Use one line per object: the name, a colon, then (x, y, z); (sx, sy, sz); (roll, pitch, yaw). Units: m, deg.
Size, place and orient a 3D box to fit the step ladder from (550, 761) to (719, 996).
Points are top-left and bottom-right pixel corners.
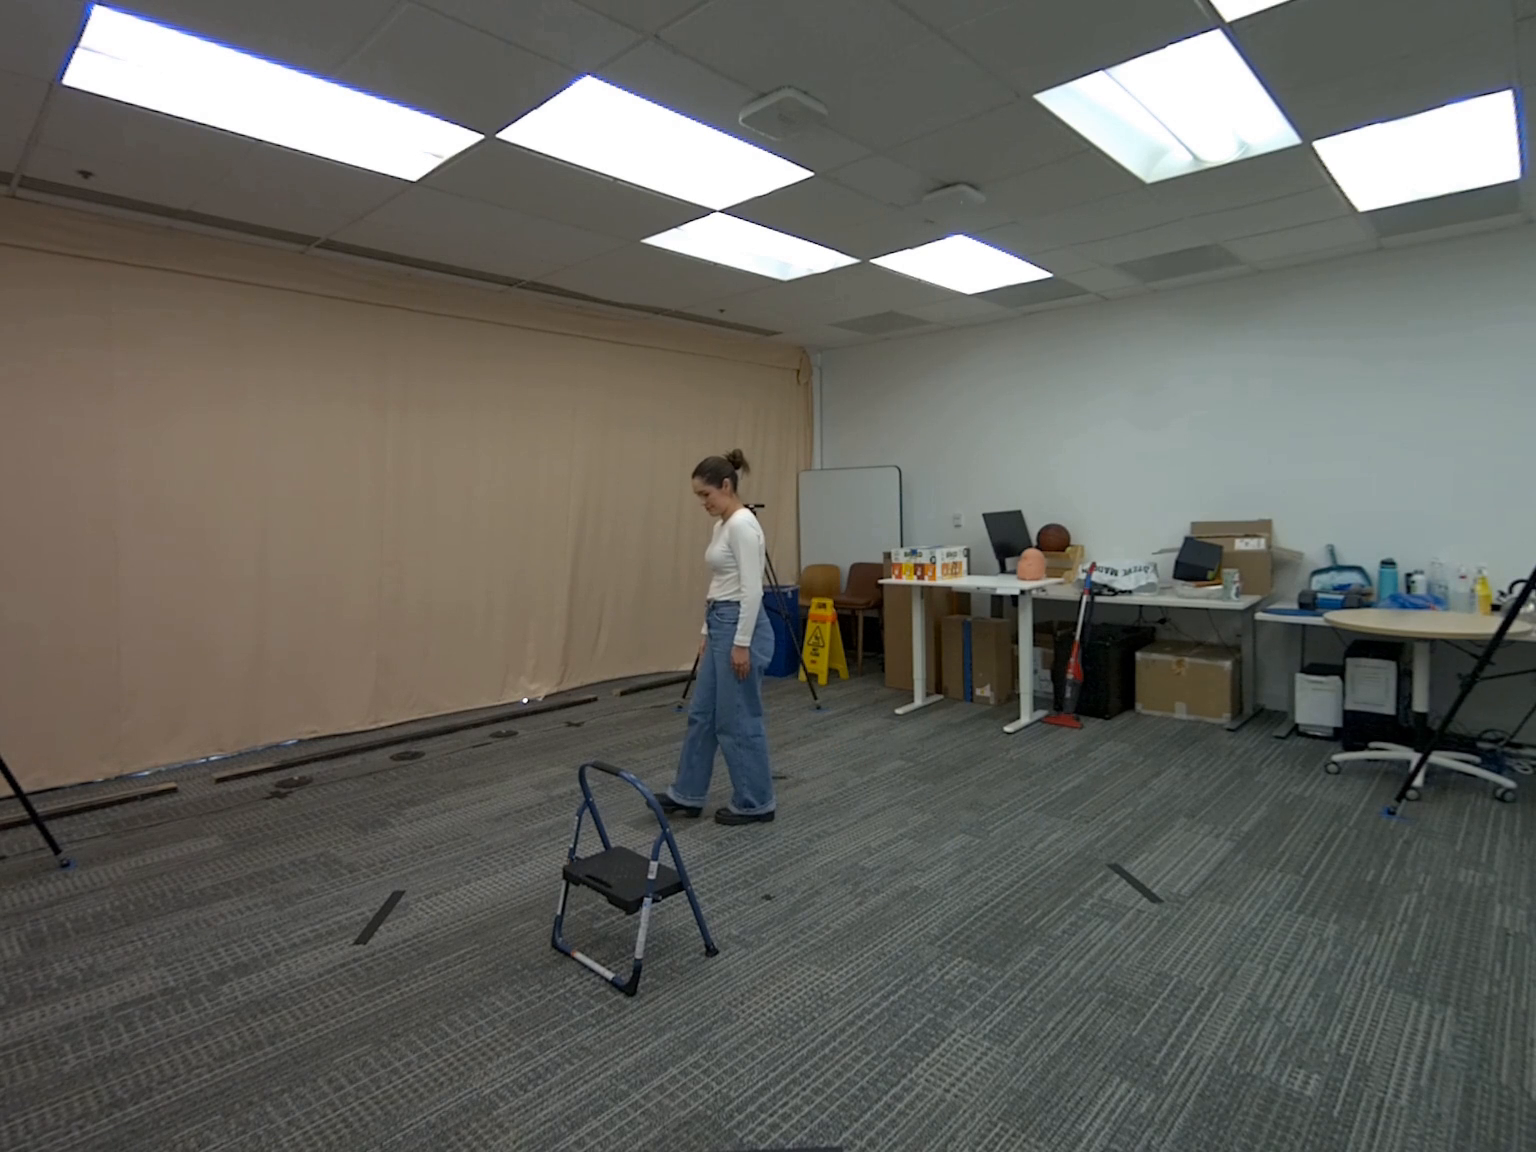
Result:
step ladder: (-0.433, 0.876, 2.635); (0.445, 0.605, 0.339); (2, 4, 43)
